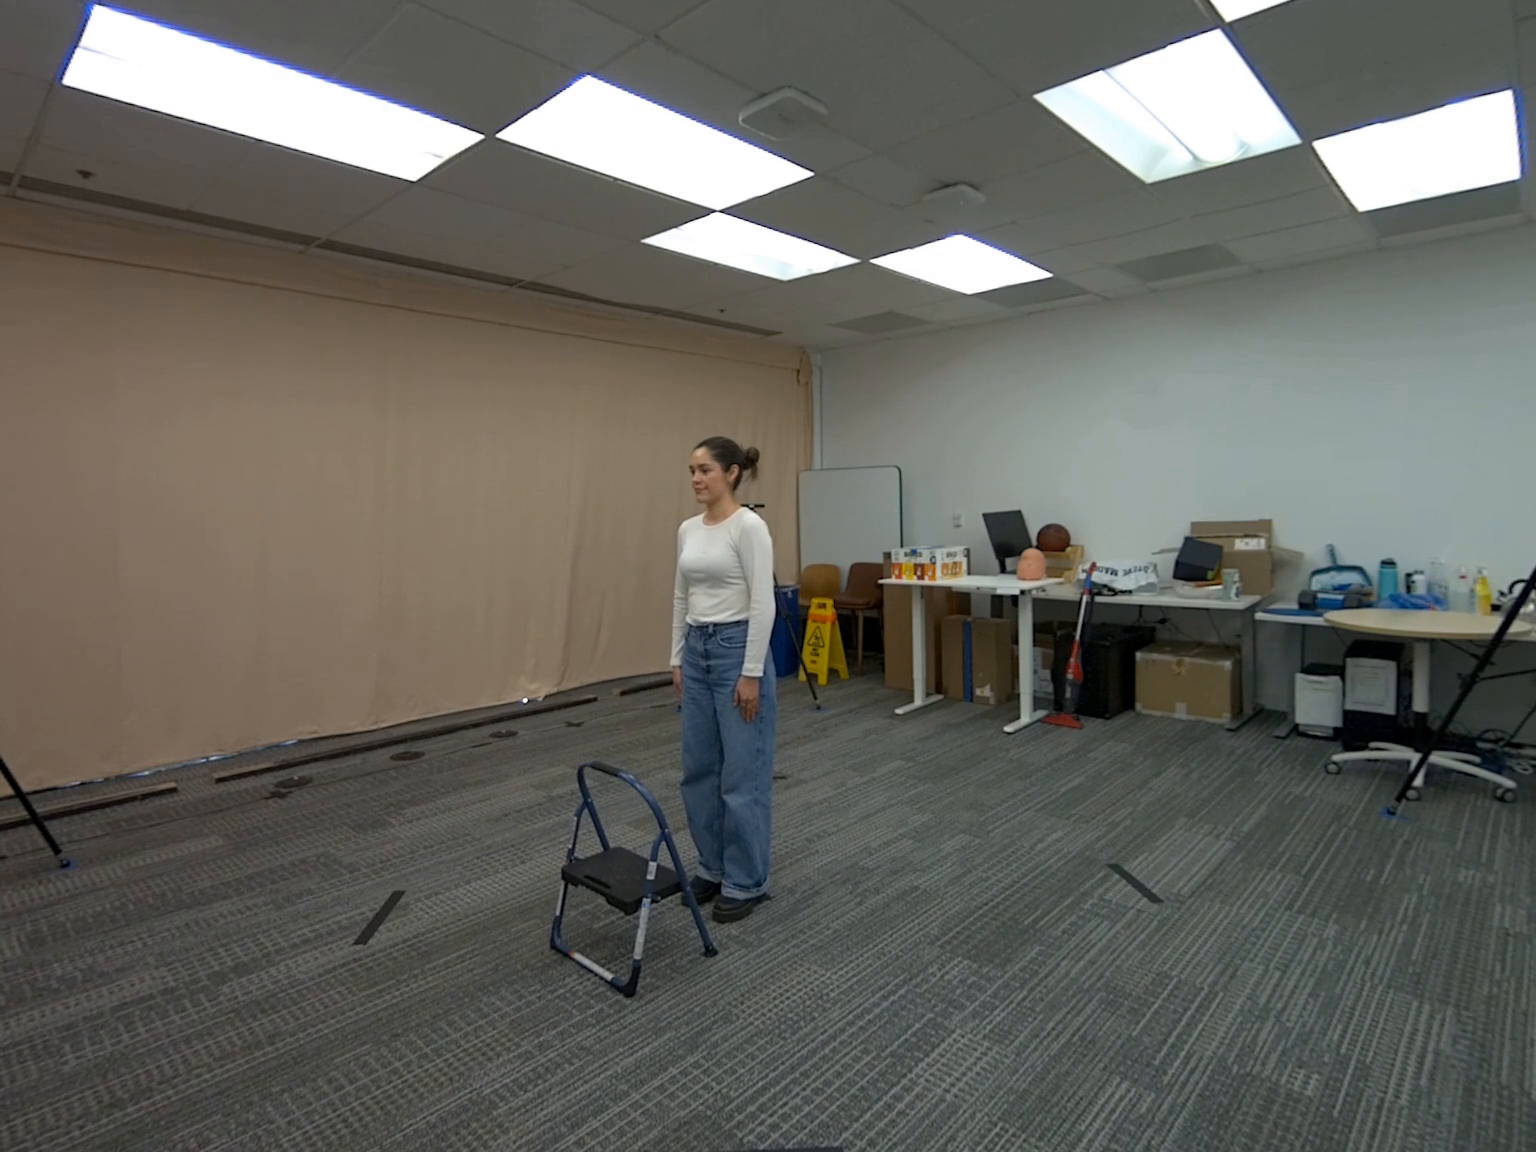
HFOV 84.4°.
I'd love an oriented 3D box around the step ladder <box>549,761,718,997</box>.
[{"bbox_3d":[-0.432,0.877,2.634,0.445,0.605,0.338,1,4,43],"label":"step ladder"}]
